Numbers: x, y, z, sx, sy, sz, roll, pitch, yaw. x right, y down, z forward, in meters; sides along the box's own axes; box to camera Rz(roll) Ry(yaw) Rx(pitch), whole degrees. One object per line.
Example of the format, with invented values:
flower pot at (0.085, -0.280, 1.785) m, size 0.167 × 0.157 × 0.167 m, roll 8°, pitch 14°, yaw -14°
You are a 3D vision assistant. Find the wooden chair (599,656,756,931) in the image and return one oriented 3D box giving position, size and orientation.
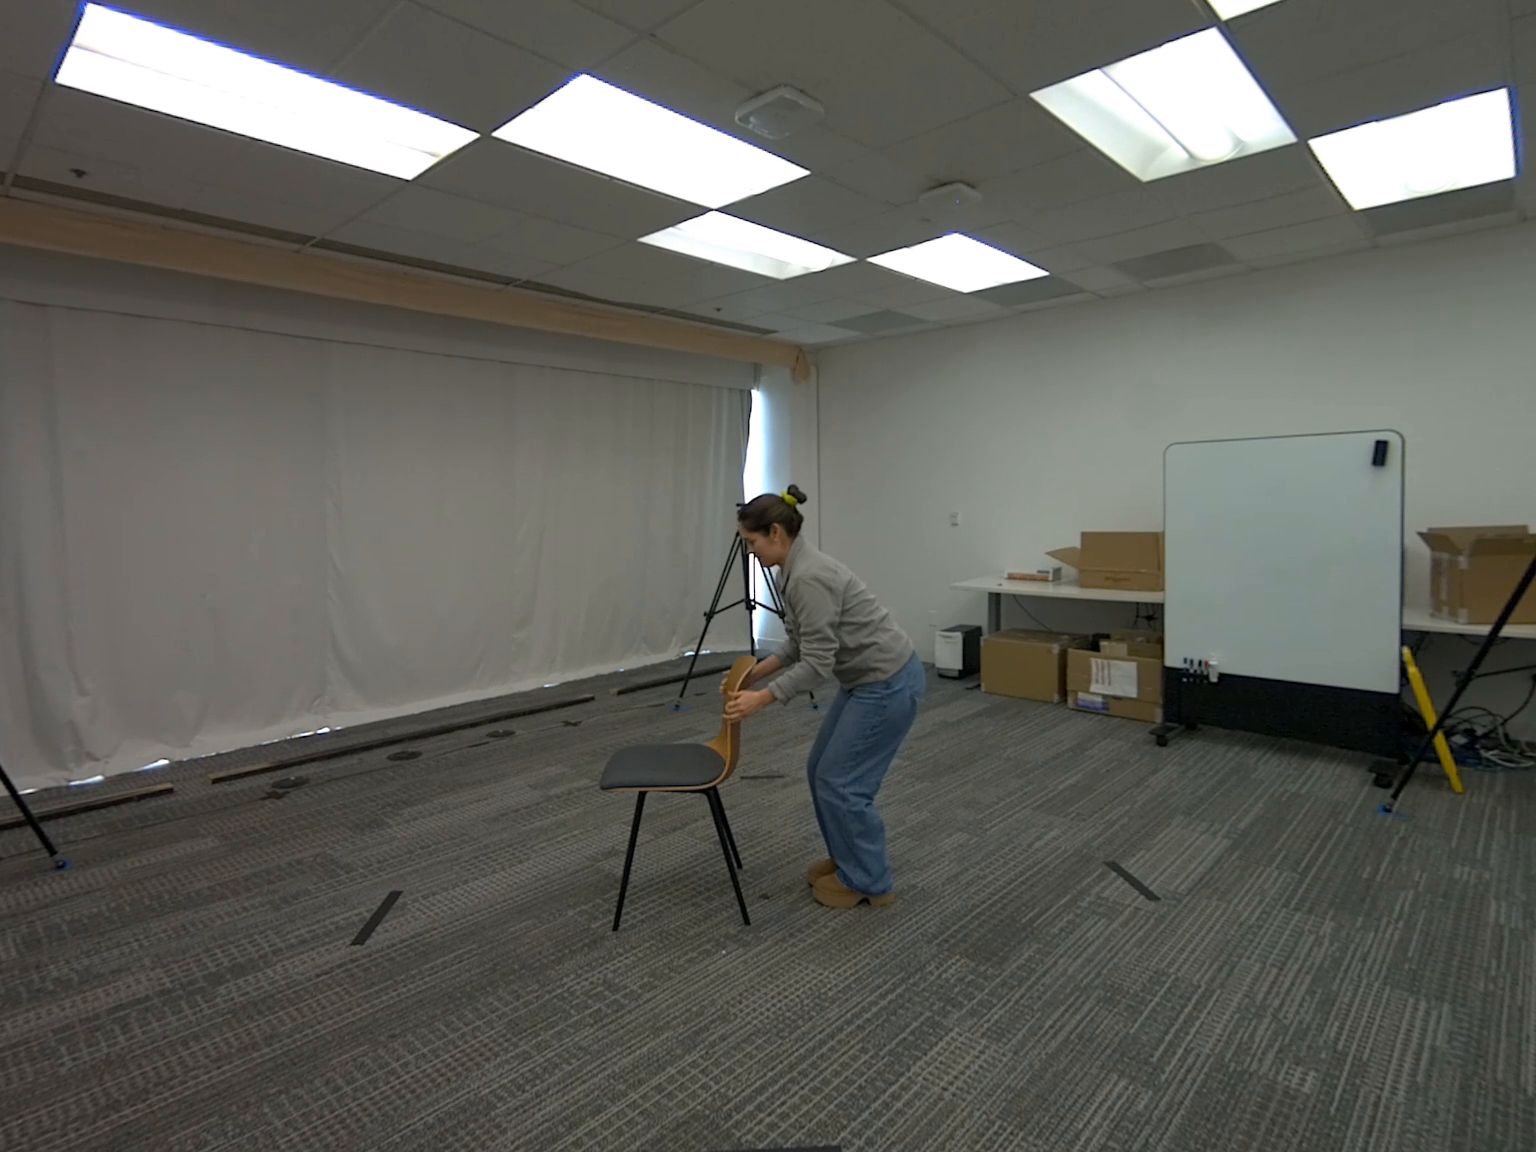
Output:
wooden chair at (-0.322, 0.721, 2.964) m, size 0.522 × 0.875 × 0.481 m, roll 3°, pitch 4°, yaw -4°
